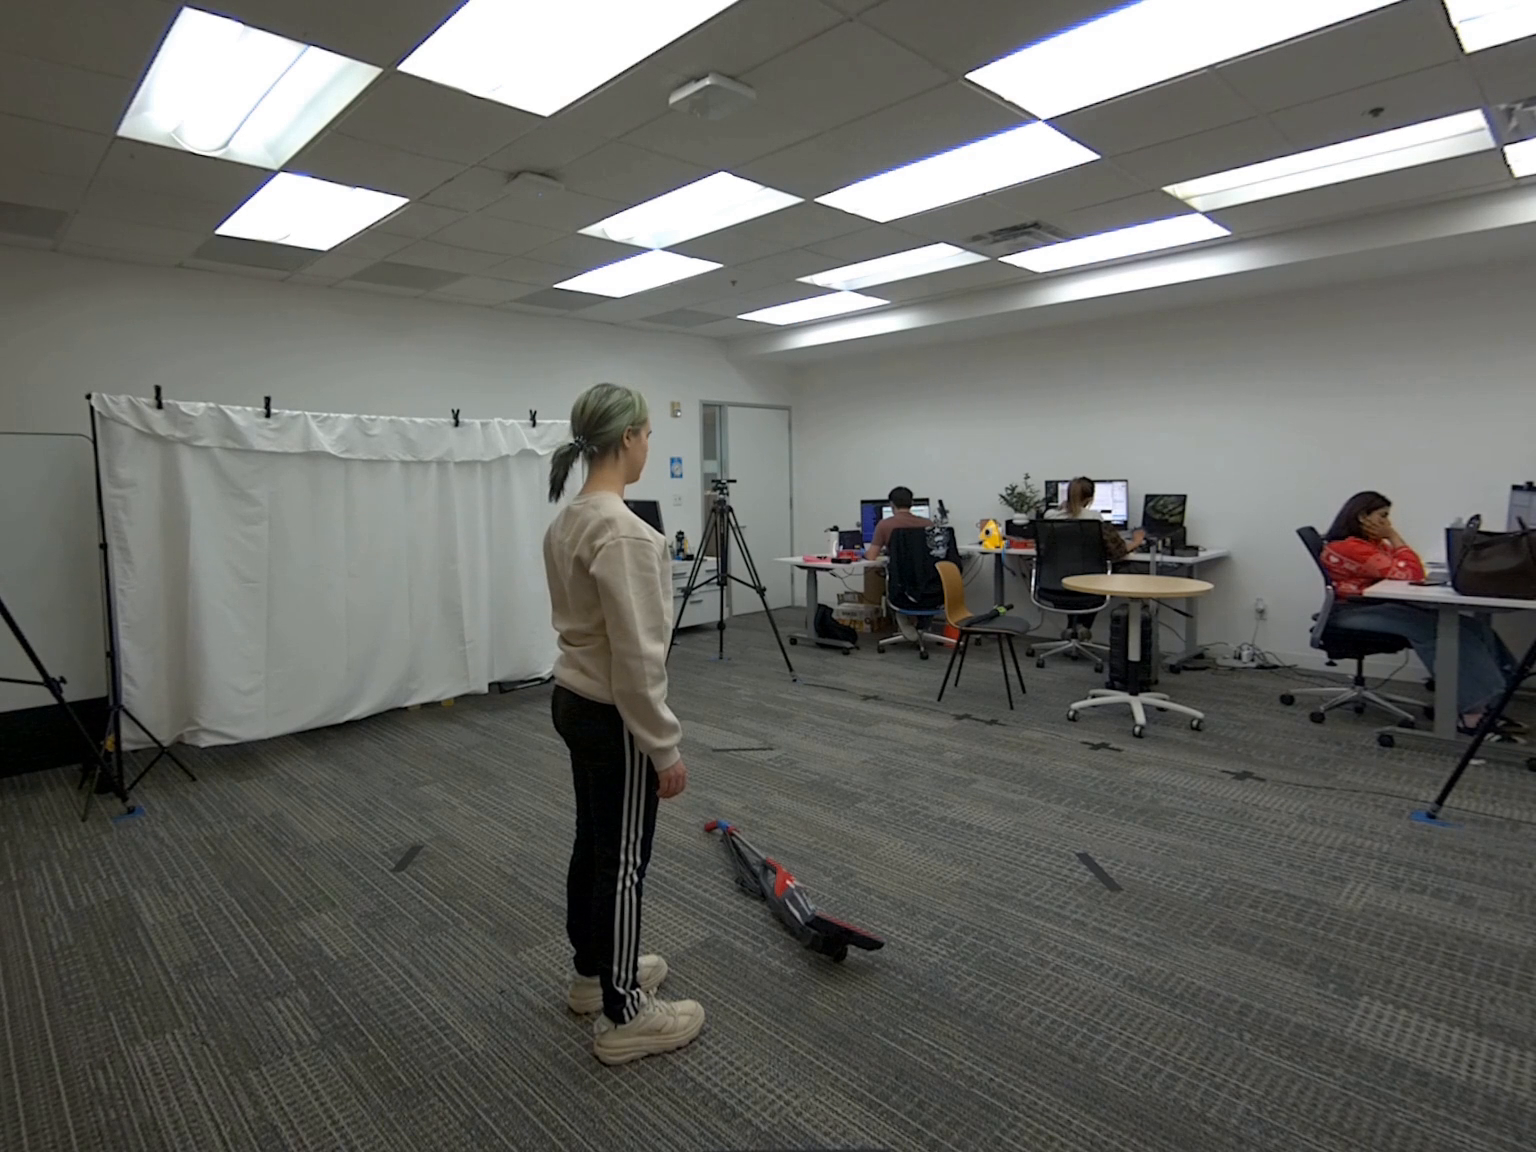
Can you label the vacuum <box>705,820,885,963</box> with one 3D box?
[{"bbox_3d":[-0.021,1.021,2.915,0.247,0.144,1.070,32,-11,-20],"label":"vacuum"}]
